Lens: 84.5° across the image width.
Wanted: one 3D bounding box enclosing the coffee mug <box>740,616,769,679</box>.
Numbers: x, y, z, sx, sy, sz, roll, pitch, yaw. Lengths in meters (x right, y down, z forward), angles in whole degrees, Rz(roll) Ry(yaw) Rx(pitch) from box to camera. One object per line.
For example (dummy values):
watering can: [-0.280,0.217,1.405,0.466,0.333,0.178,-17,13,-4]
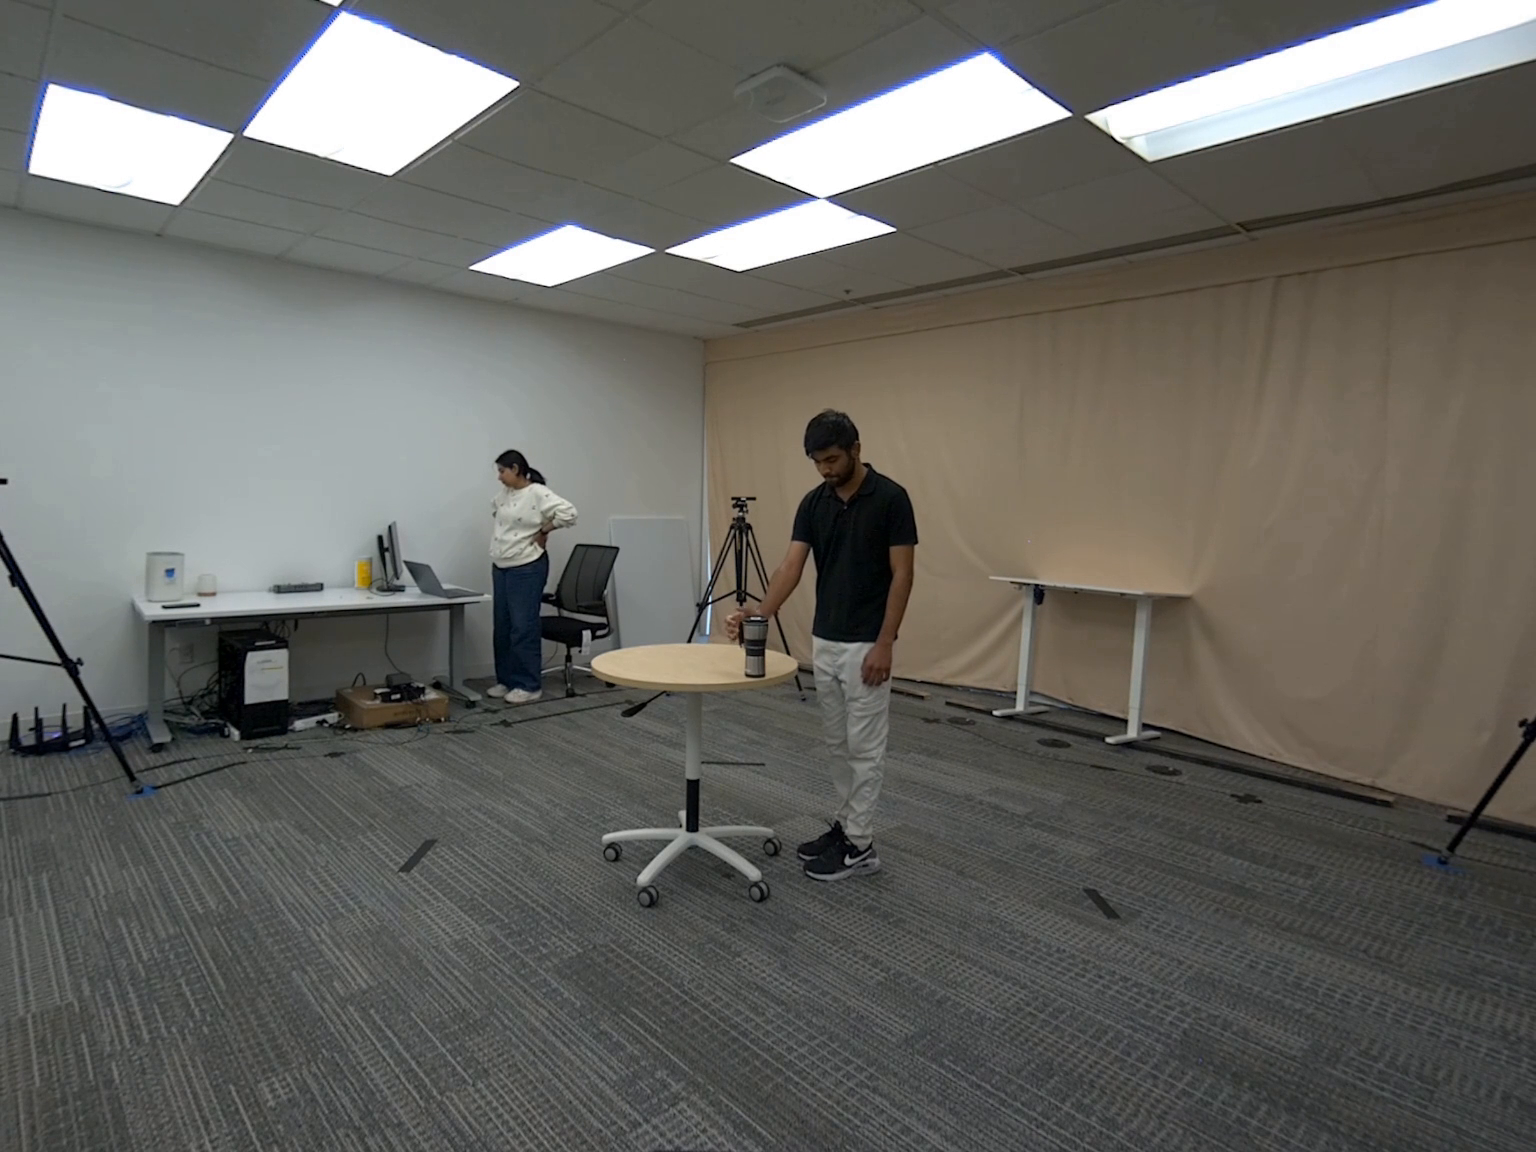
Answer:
coffee mug: [-0.045,0.245,2.896,0.089,0.202,0.120,-2,5,26]
